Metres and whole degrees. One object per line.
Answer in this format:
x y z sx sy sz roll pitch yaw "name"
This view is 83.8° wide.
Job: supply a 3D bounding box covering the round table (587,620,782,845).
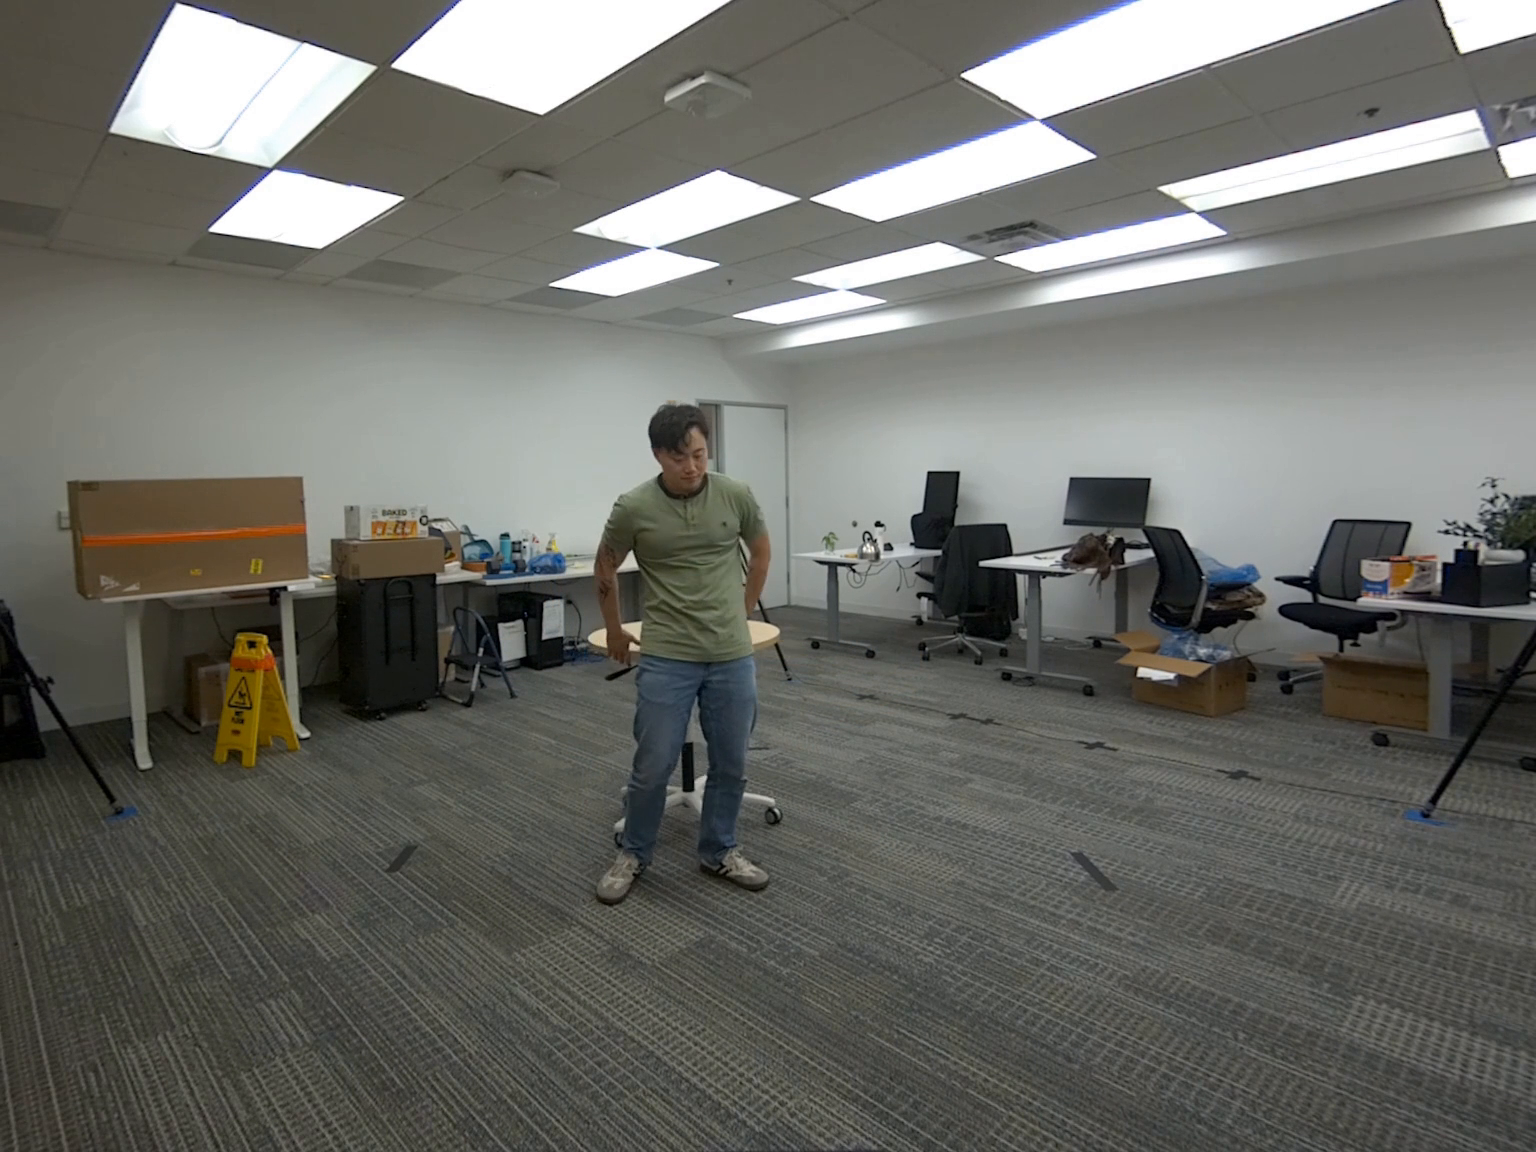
-0.320 0.622 3.446 0.763 0.791 0.767 -2 4 -2 "round table"
